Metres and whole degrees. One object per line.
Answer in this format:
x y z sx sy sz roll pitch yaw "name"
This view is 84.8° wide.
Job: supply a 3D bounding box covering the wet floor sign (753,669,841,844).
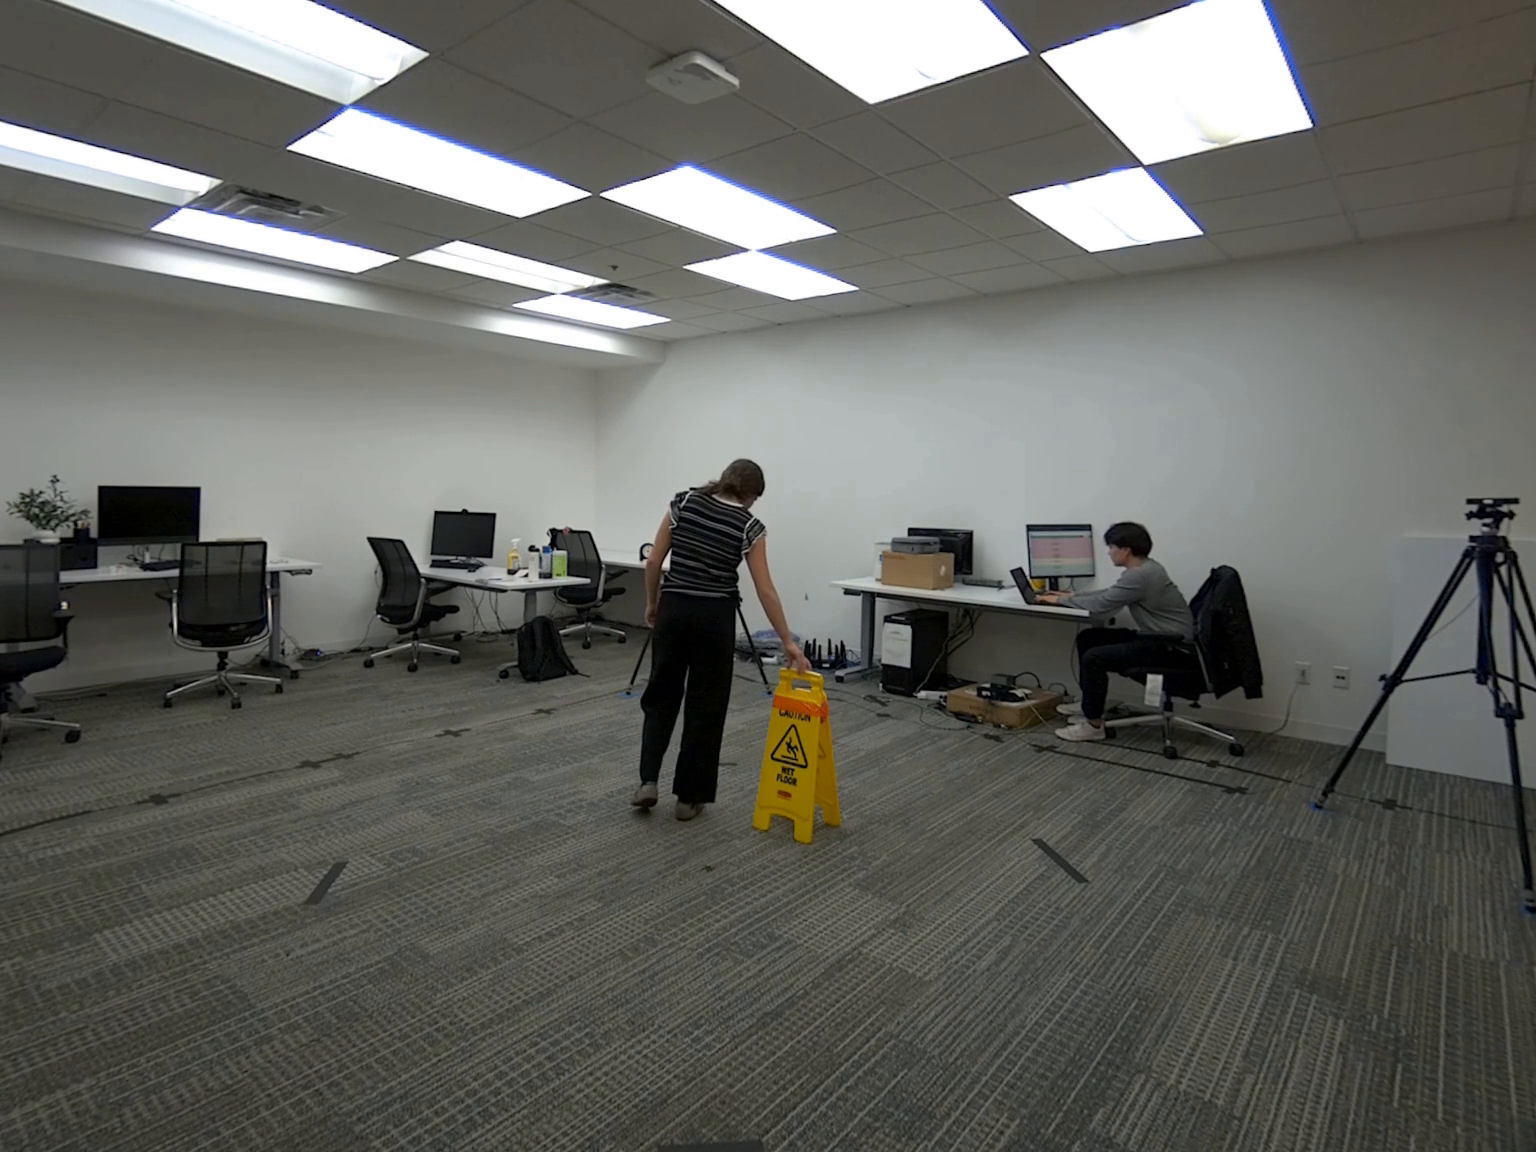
0.119 0.709 3.514 0.291 0.645 0.281 4 3 35 "wet floor sign"
